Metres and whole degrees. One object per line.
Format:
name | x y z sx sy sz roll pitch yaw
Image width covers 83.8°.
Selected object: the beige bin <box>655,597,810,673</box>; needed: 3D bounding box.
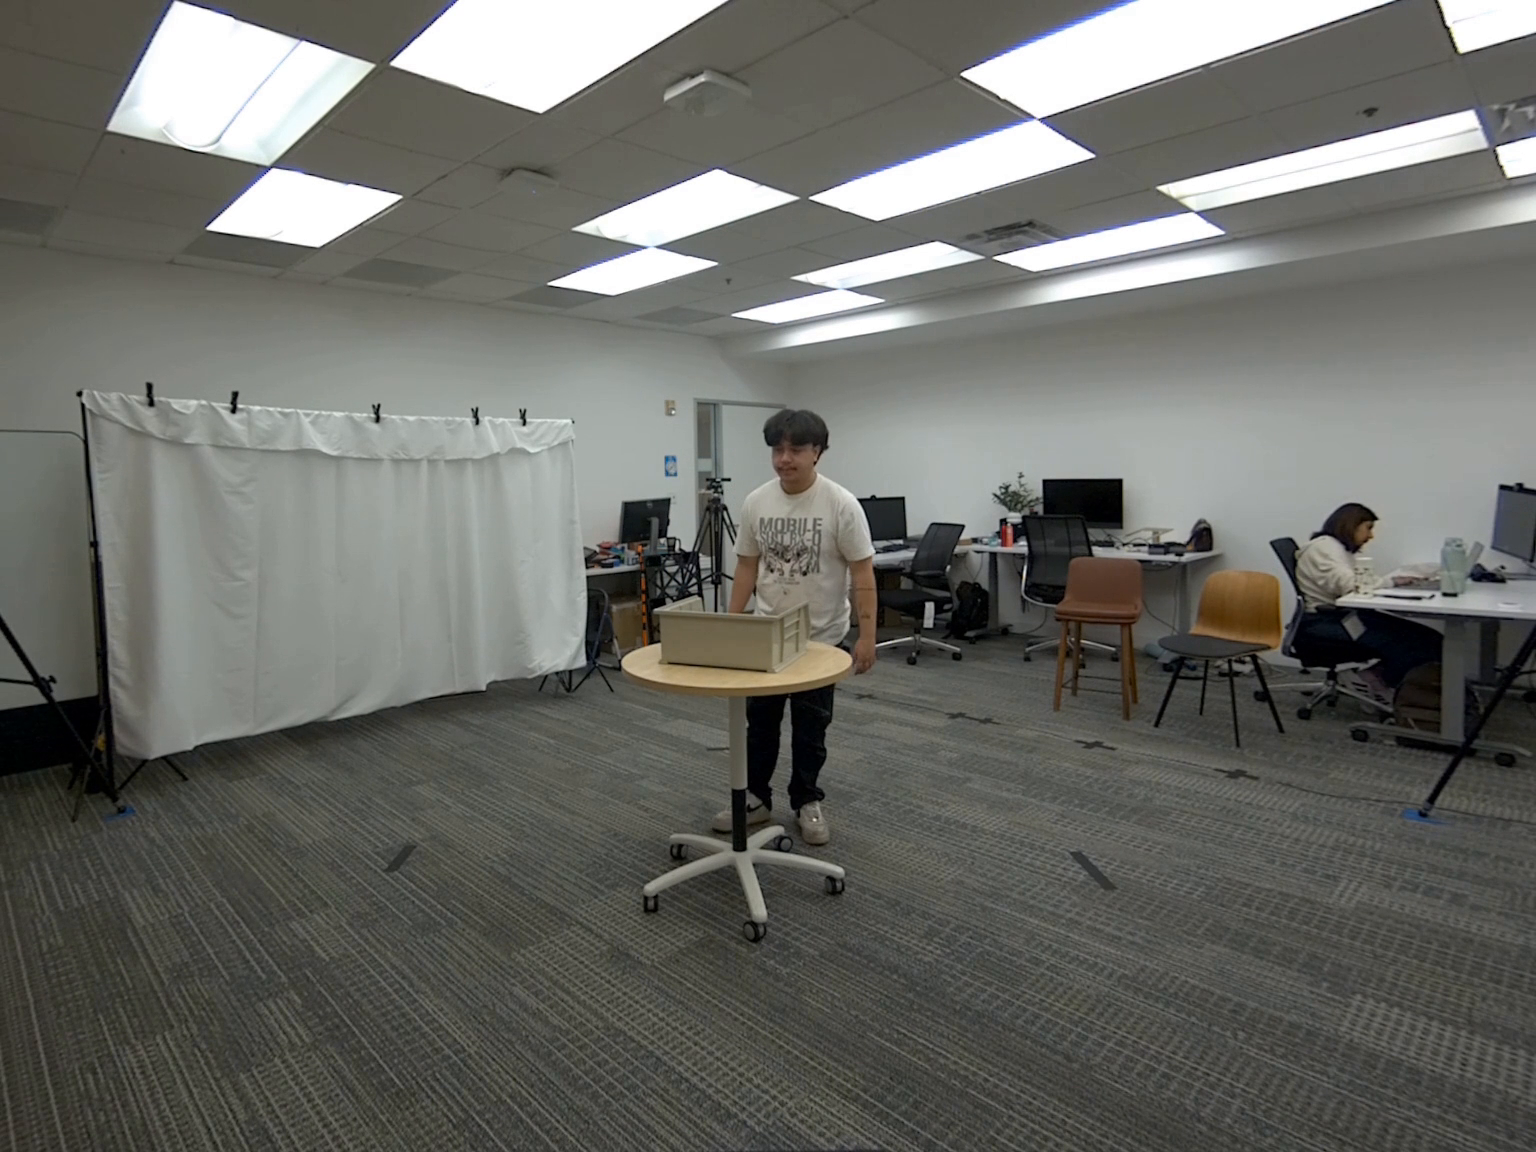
beige bin | -0.110 0.187 2.860 0.431 0.188 0.372 3 8 22
